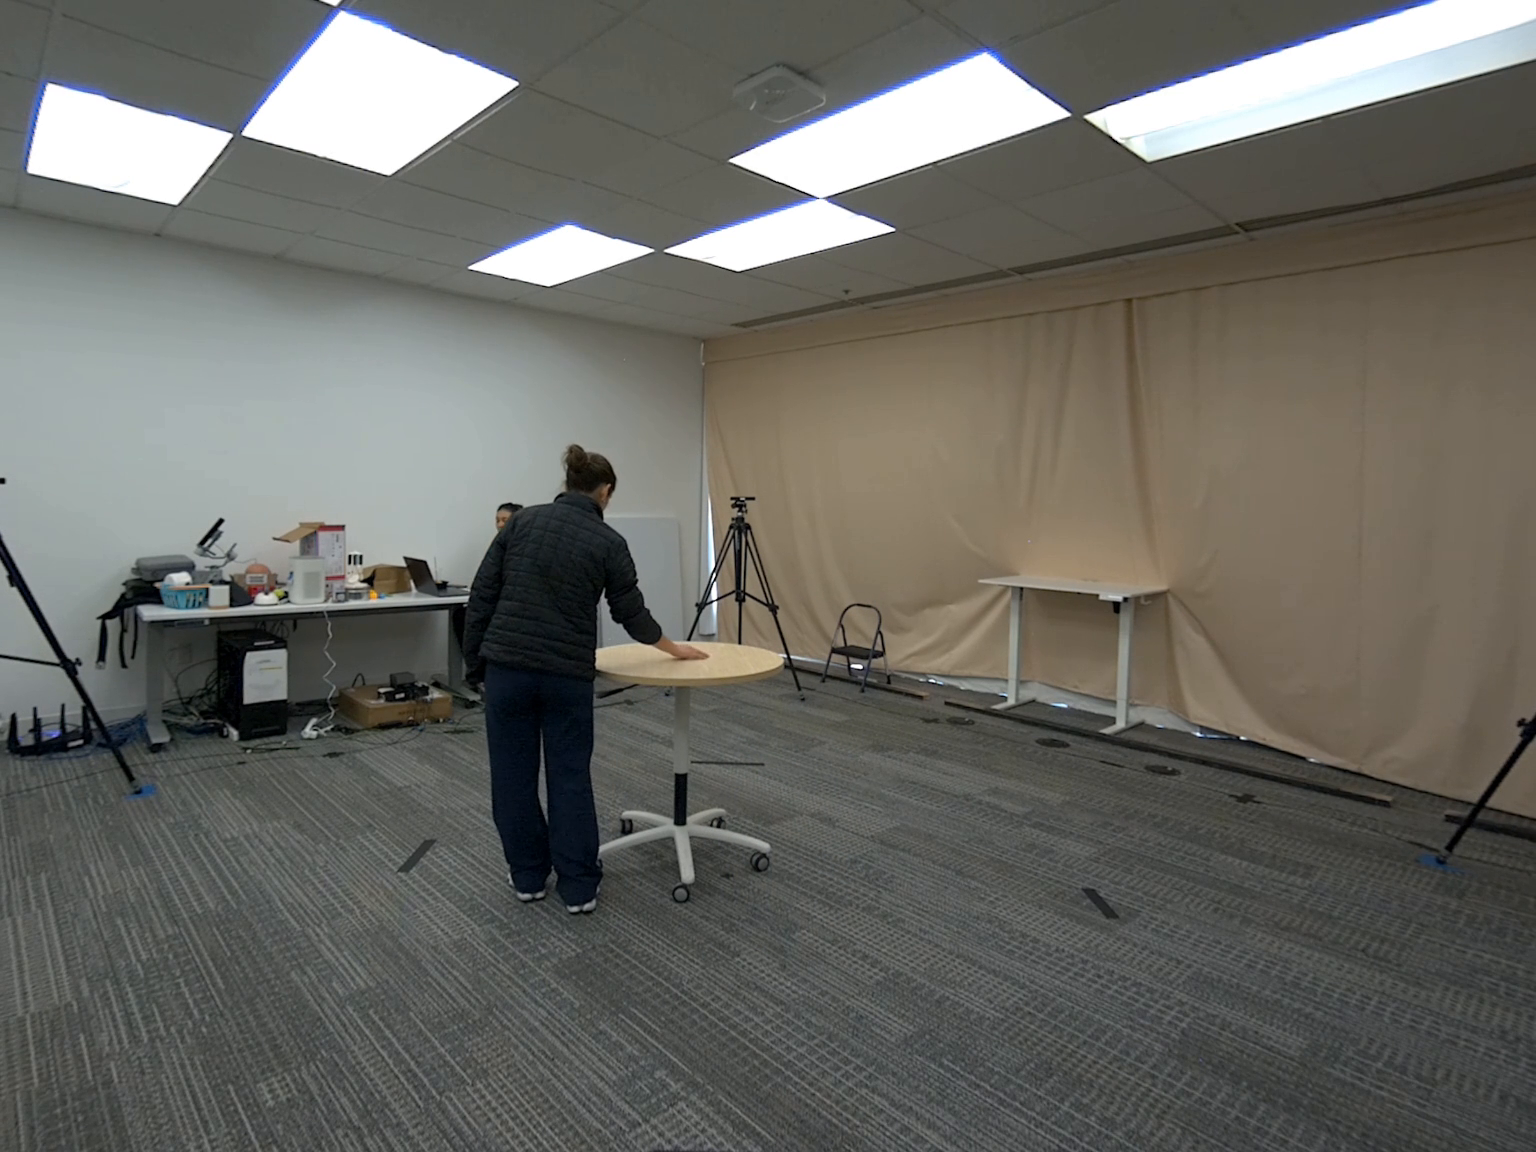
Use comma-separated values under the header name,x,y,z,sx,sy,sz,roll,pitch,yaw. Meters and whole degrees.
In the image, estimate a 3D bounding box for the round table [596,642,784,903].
name,x,y,z,sx,sy,sz,roll,pitch,yaw
round table,-0.325,0.699,3.211,0.784,0.784,0.787,1,4,-1
